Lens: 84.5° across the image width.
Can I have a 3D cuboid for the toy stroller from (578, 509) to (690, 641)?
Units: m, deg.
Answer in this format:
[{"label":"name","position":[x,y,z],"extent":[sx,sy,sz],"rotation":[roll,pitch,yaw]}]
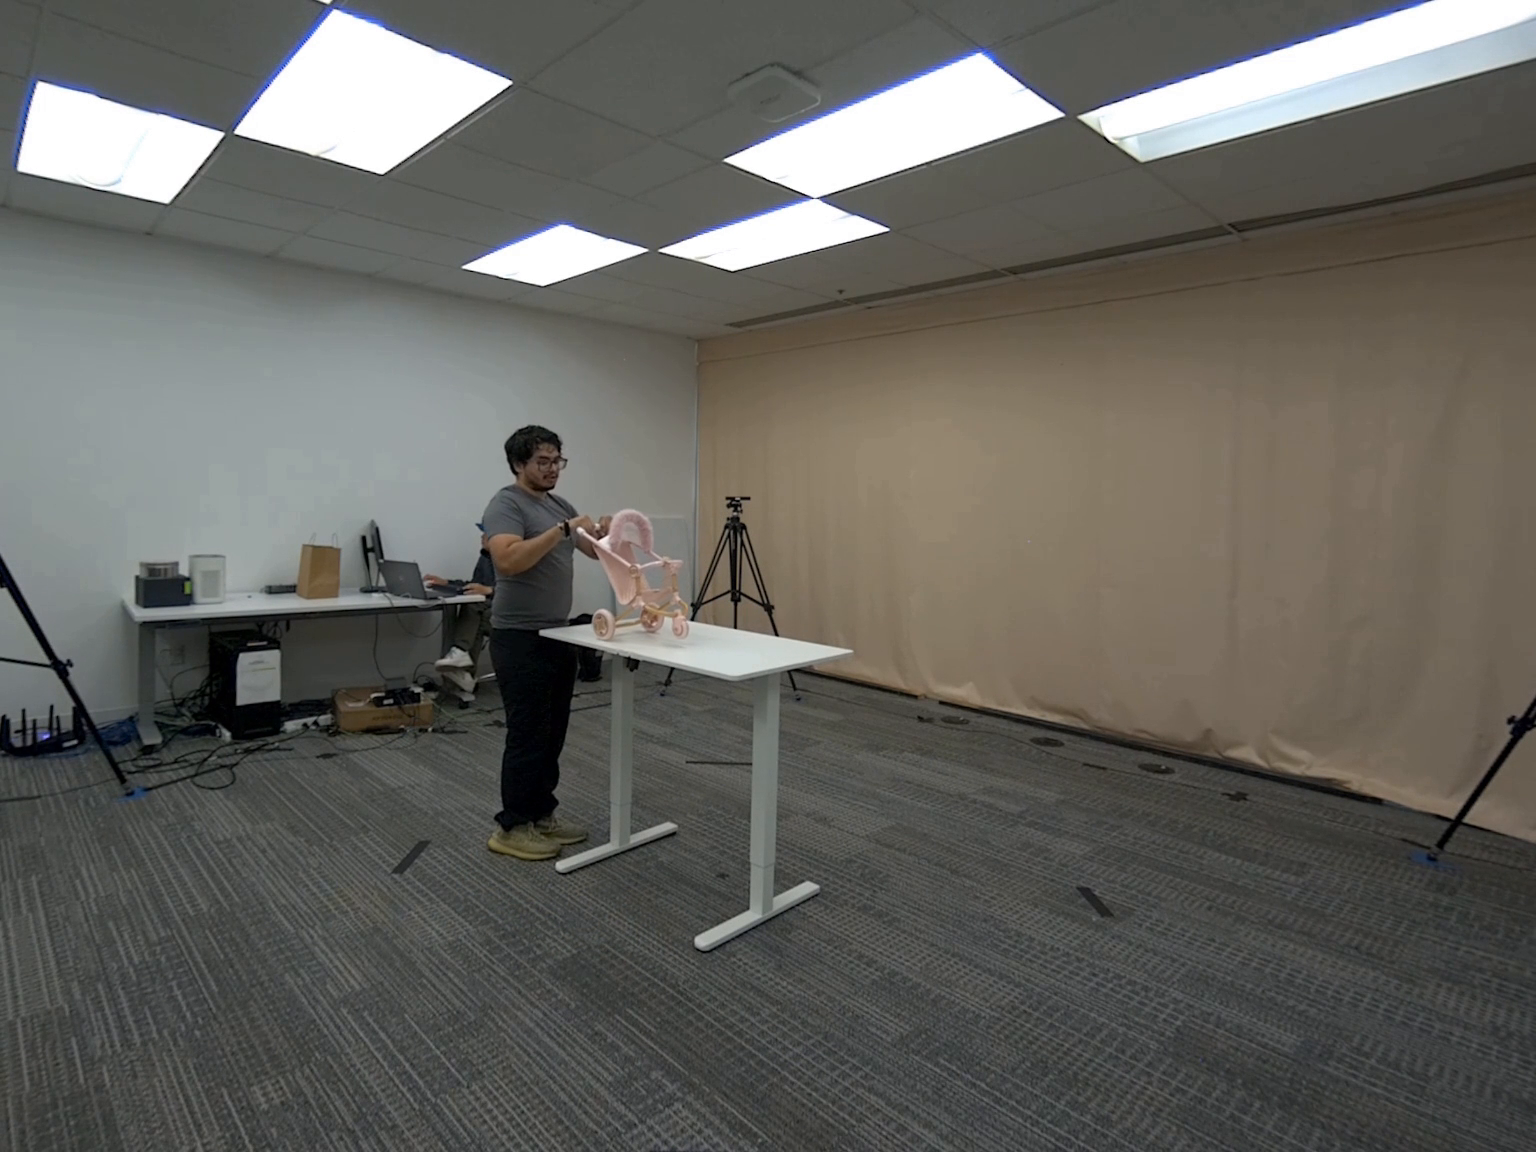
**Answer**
[{"label":"toy stroller","position":[-0.474,-0.003,3.010],"extent":[0.345,0.540,0.275],"rotation":[-24,-13,39]}]
